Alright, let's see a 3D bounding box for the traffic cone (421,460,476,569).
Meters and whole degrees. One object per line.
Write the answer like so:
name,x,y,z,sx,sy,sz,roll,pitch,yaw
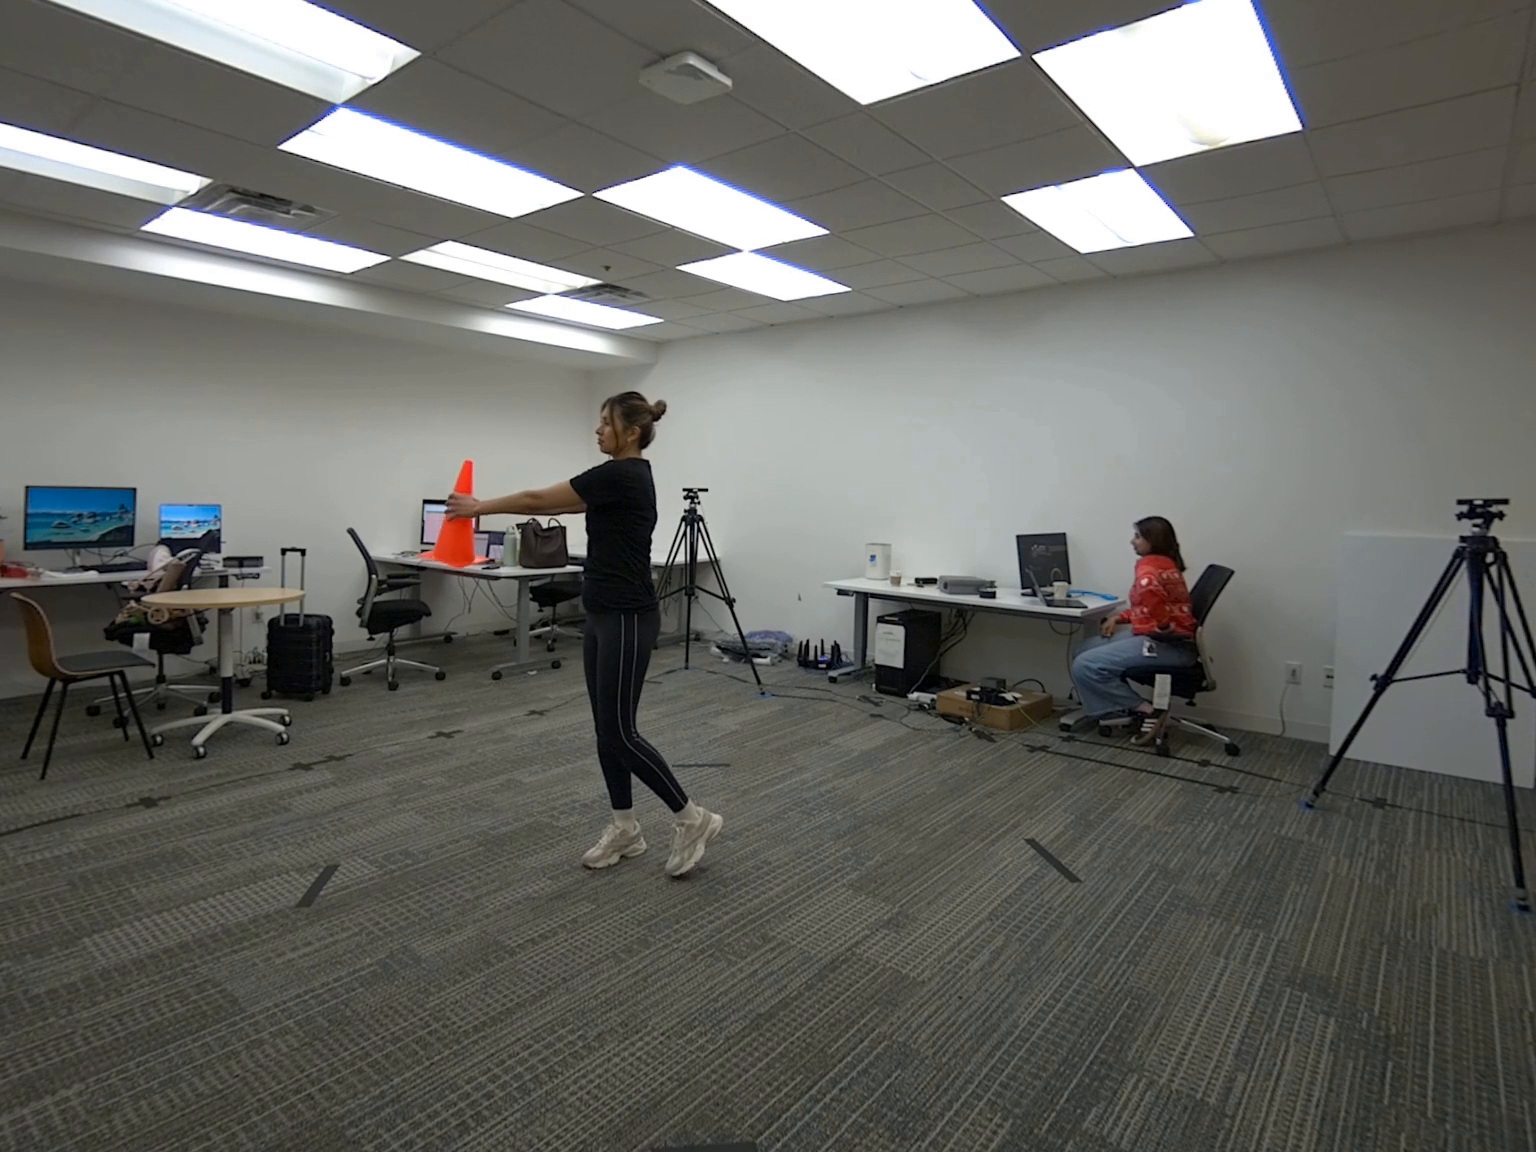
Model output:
traffic cone,-1.170,-0.252,3.215,0.208,0.381,0.202,13,10,9
